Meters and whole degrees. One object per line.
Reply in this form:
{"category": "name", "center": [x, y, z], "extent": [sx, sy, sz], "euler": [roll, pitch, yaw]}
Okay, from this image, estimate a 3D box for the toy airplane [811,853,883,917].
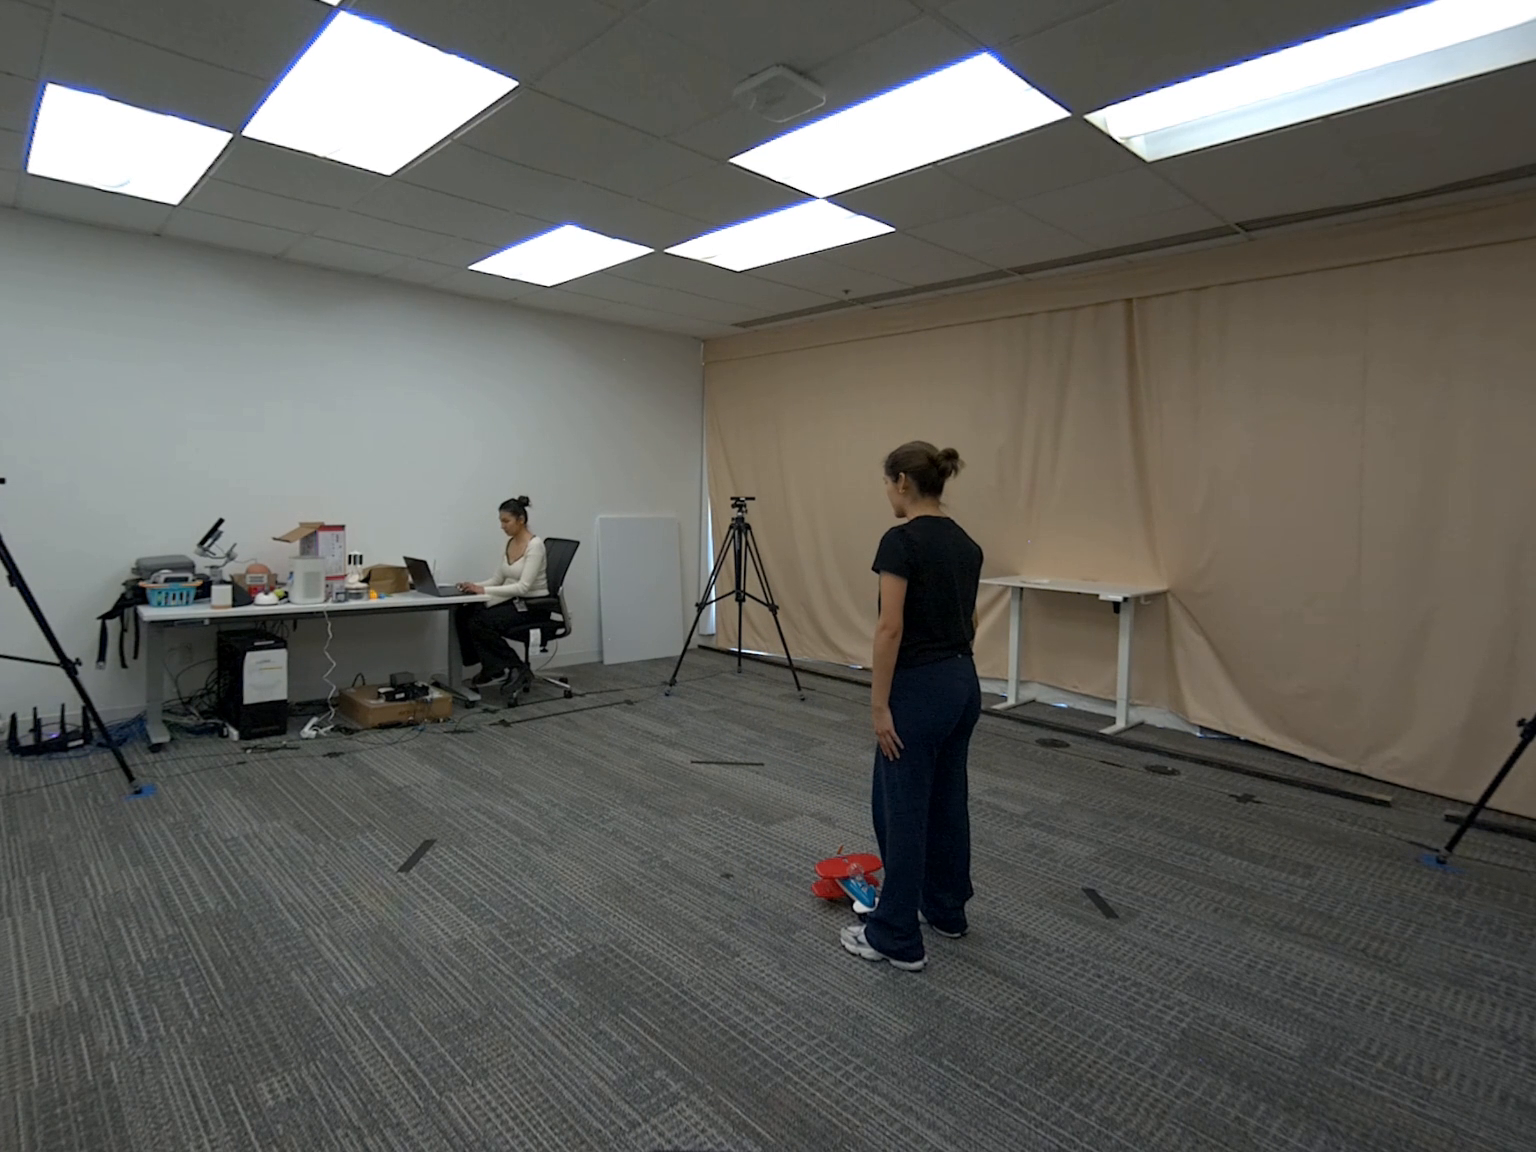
{"category": "toy airplane", "center": [0.301, 1.066, 2.872], "extent": [0.265, 0.156, 0.246], "euler": [3, 5, 36]}
